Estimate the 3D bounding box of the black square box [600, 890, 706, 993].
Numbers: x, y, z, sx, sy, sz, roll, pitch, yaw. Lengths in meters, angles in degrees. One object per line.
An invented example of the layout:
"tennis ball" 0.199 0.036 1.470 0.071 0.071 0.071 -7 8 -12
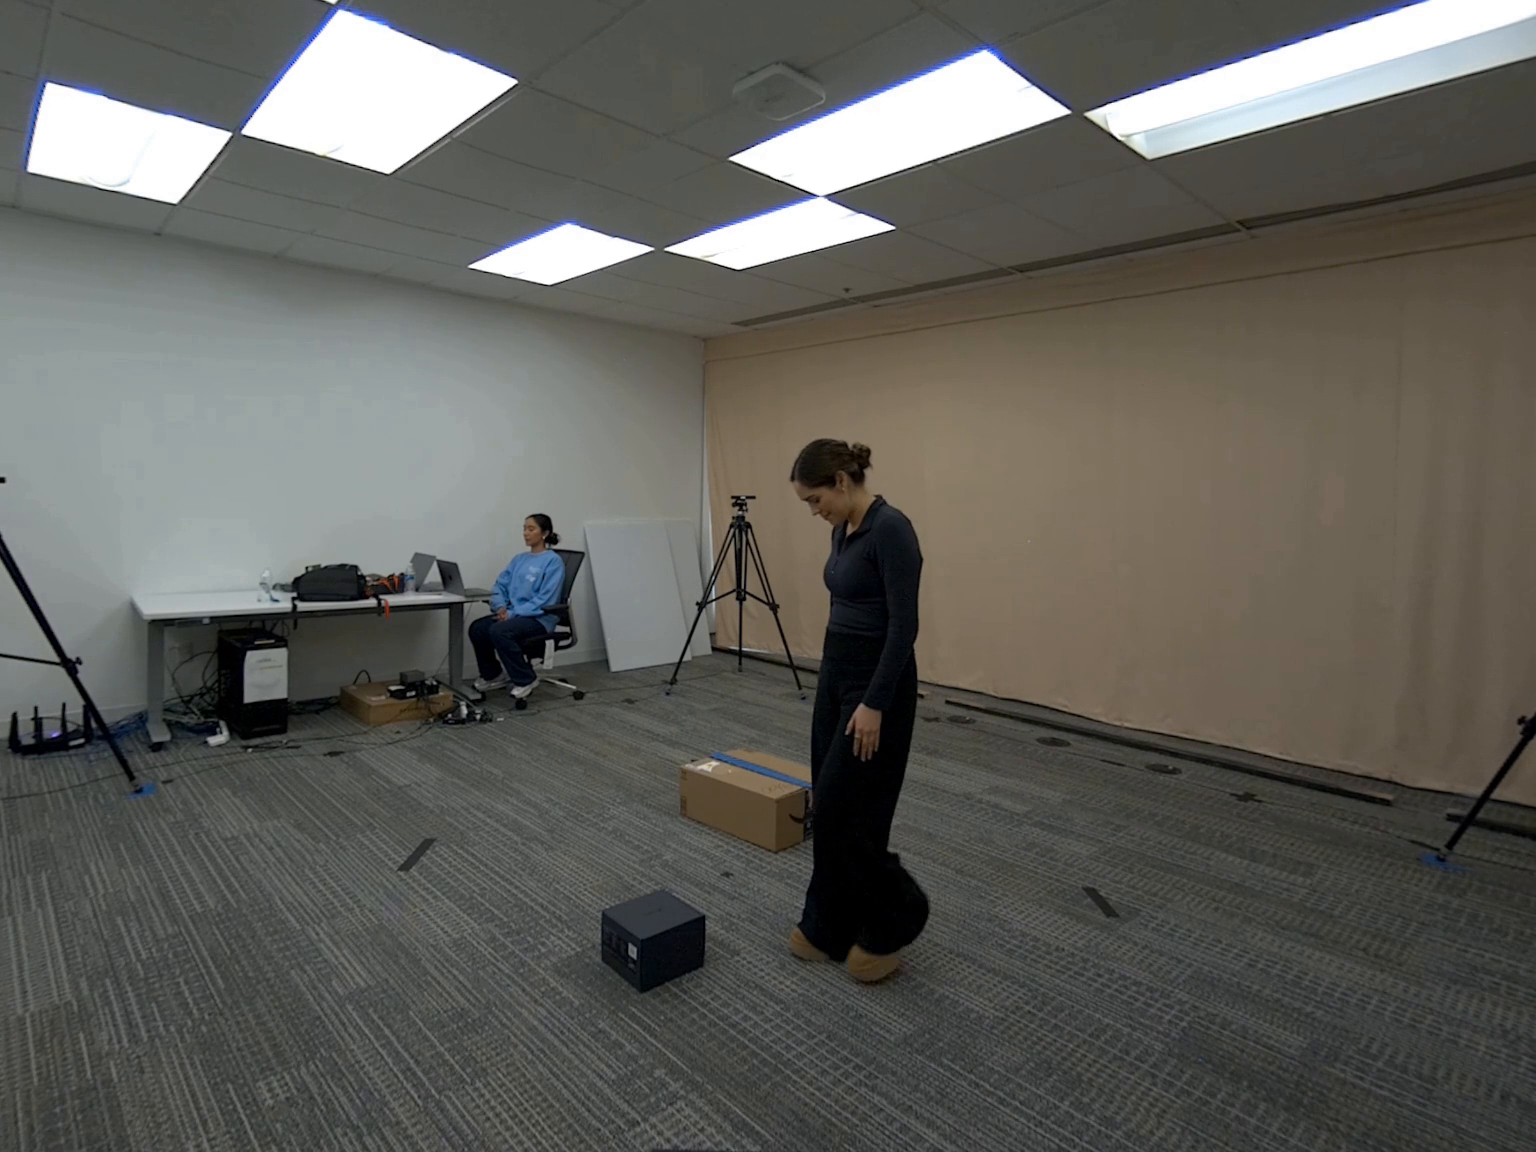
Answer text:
"black square box" -0.343 1.065 2.499 0.223 0.155 0.222 -4 6 -42
